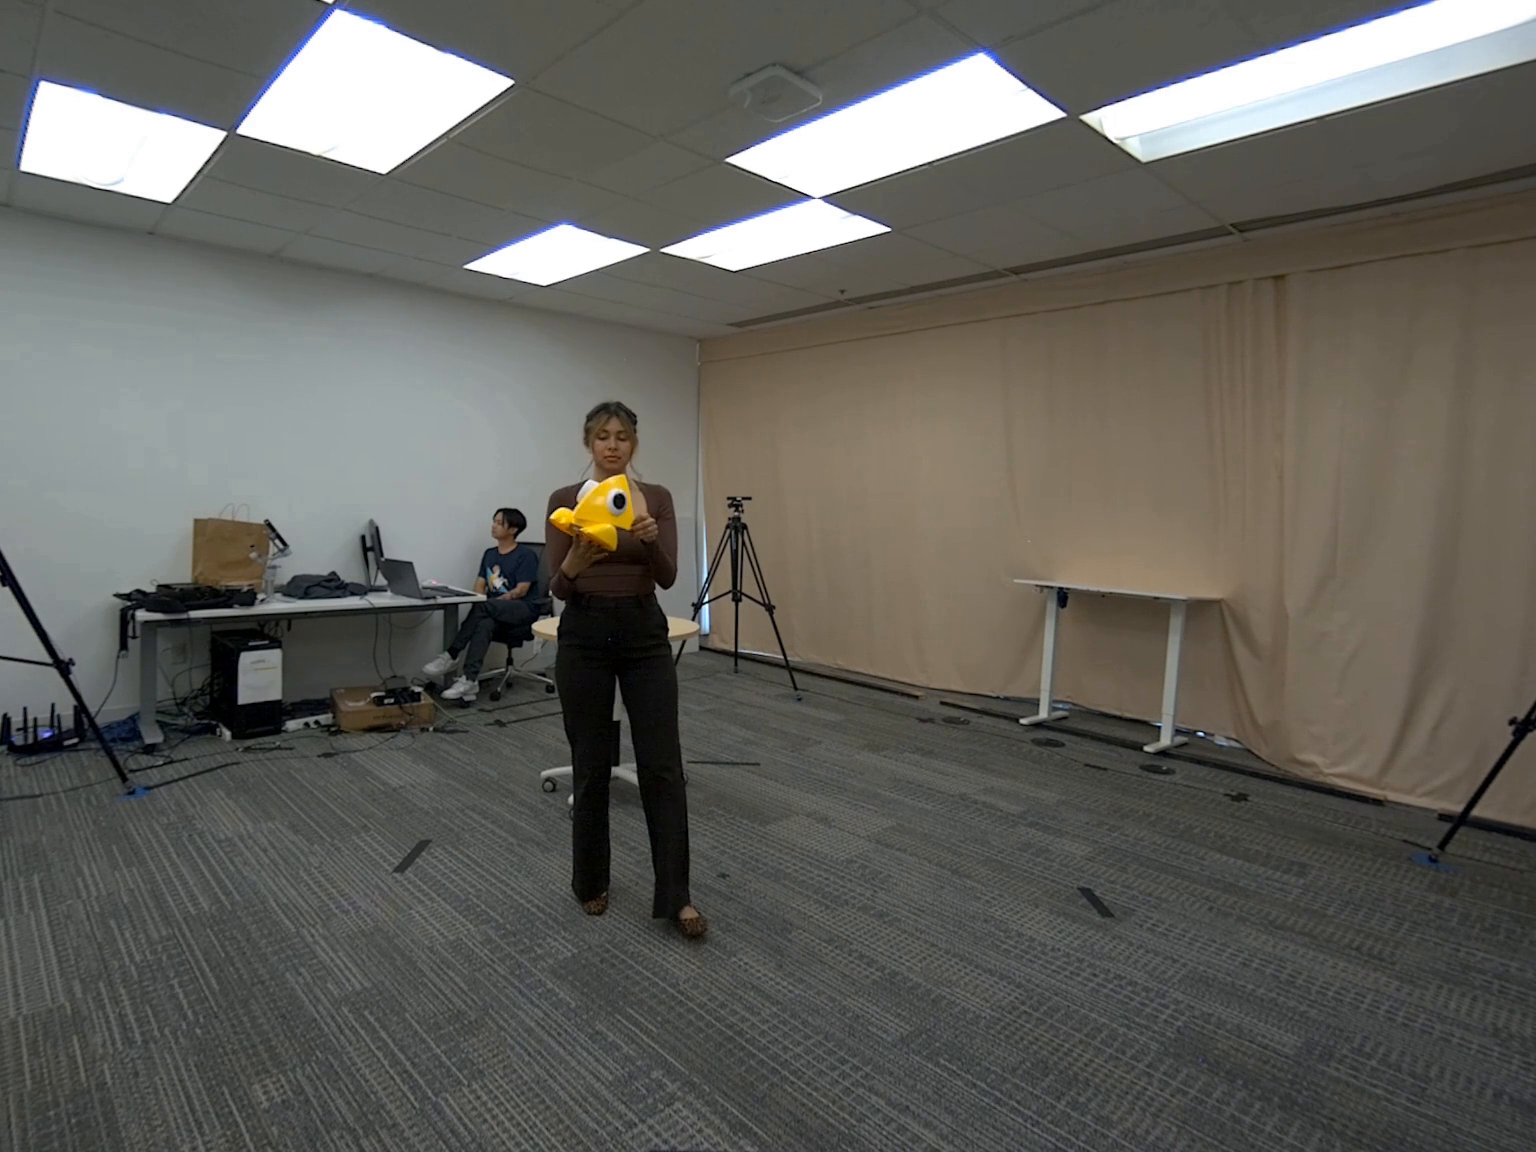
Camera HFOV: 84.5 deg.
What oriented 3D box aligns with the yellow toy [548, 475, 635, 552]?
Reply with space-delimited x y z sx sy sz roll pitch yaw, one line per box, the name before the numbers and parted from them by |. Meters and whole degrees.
yellow toy | -0.507 -0.216 2.456 0.209 0.231 0.188 19 -12 21
